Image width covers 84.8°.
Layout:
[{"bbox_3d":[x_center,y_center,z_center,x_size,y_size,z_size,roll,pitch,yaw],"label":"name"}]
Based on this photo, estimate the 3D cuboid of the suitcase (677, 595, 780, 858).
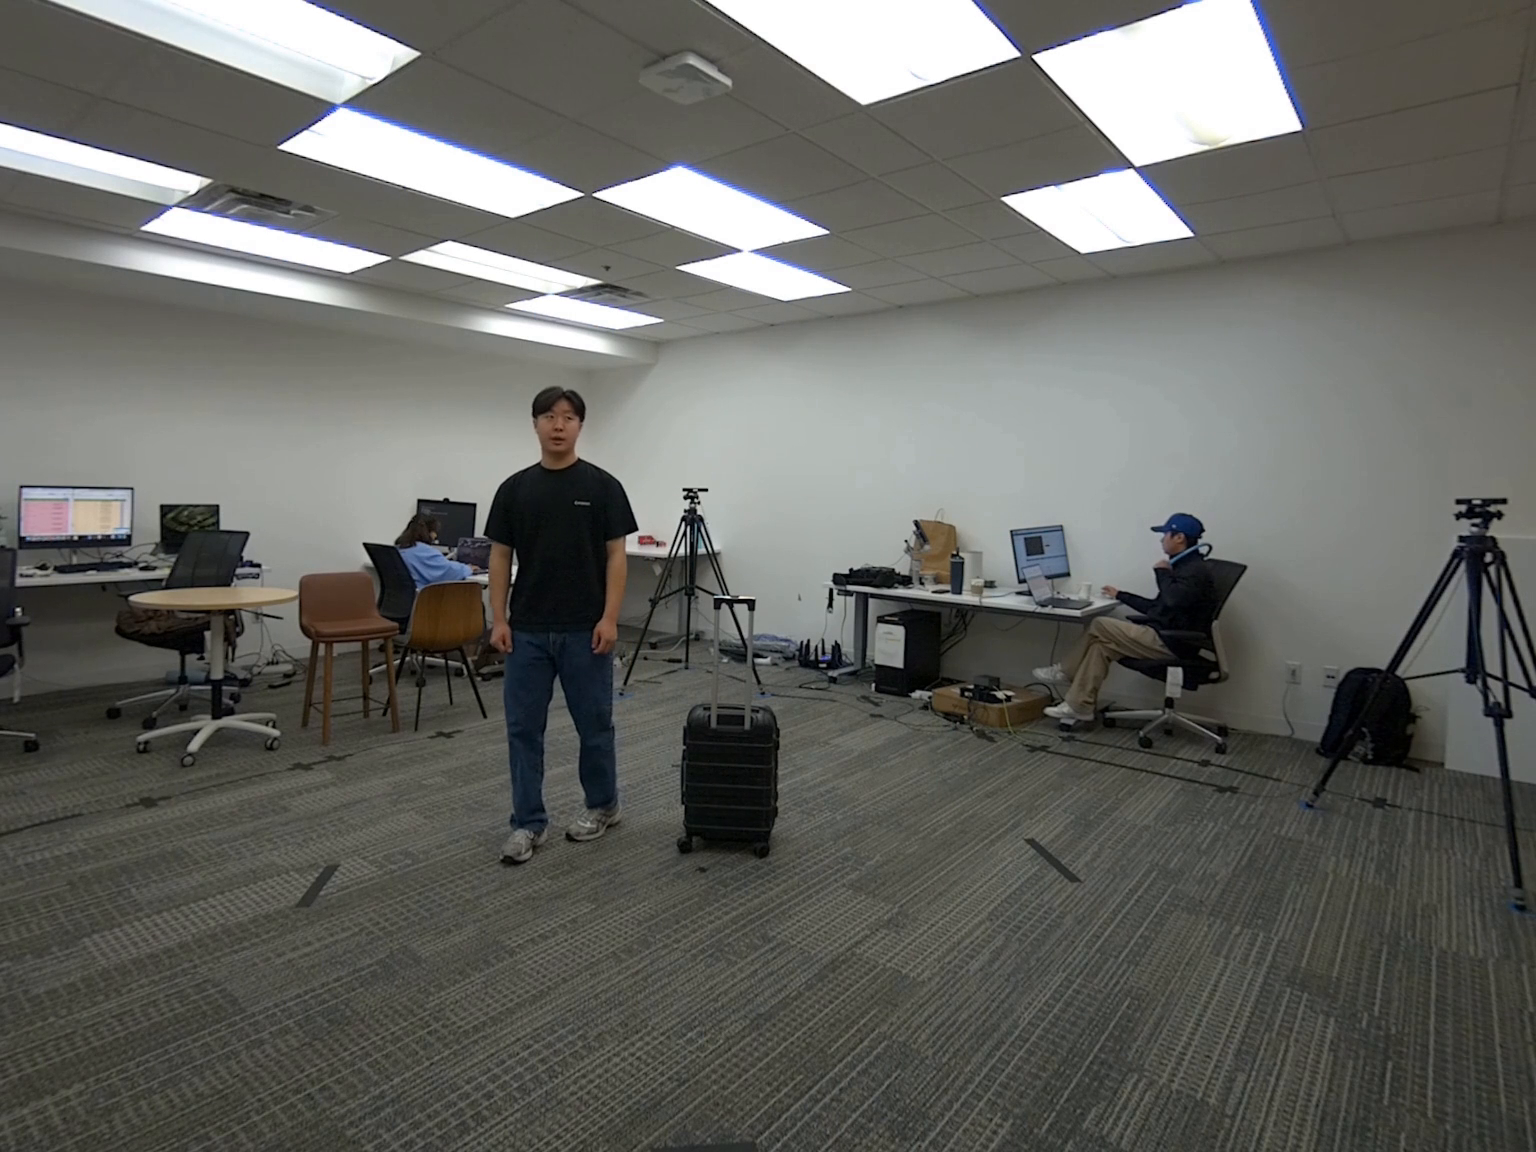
[{"bbox_3d":[-0.149,0.574,3.345,0.386,0.978,0.256,3,0,3],"label":"suitcase"}]
